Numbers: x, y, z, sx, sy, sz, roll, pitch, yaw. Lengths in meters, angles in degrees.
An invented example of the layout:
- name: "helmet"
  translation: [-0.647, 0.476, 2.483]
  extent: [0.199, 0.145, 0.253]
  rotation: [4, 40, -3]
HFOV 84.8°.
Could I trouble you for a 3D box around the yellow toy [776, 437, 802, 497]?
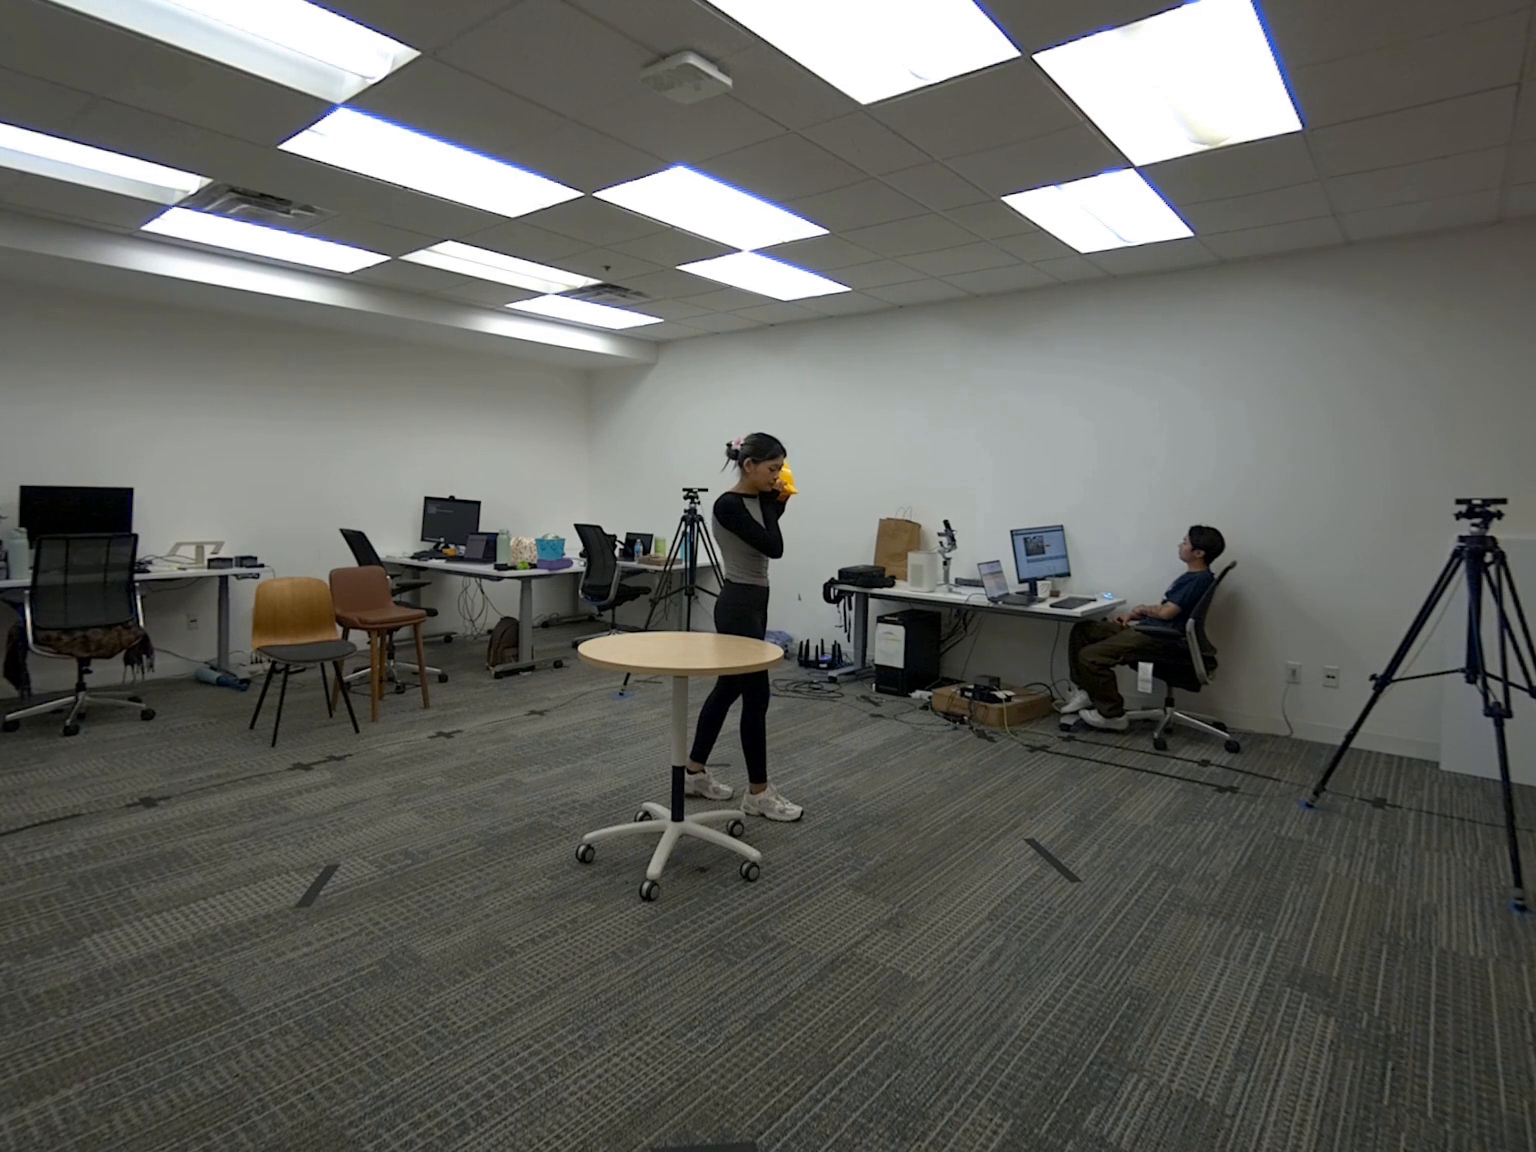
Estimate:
- name: "yellow toy"
  translation: [0.017, -0.492, 3.834]
  extent: [0.198, 0.232, 0.198]
  rotation: [-1, -6, 27]
